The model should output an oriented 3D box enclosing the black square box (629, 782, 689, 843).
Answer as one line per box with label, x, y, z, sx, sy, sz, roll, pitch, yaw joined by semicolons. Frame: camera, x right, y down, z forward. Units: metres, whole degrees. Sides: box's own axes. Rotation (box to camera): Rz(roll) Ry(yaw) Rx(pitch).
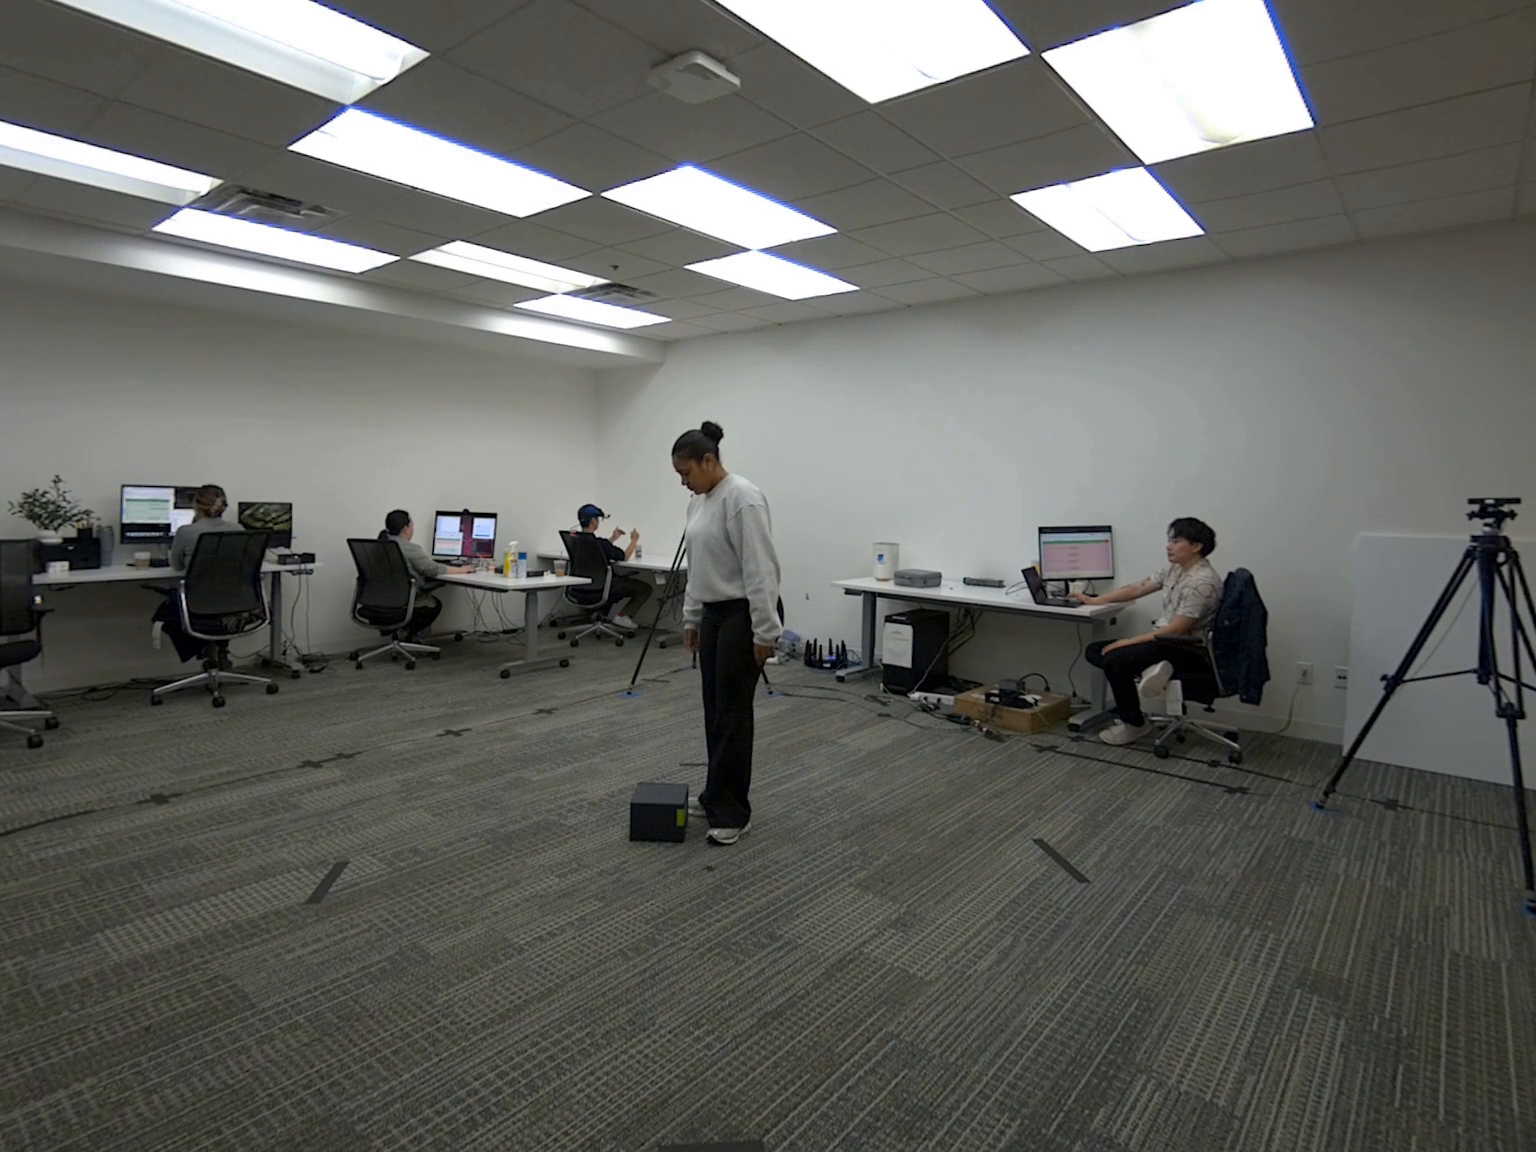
black square box;-0.448;0.946;3.445;0.217;0.155;0.228;1;5;1
